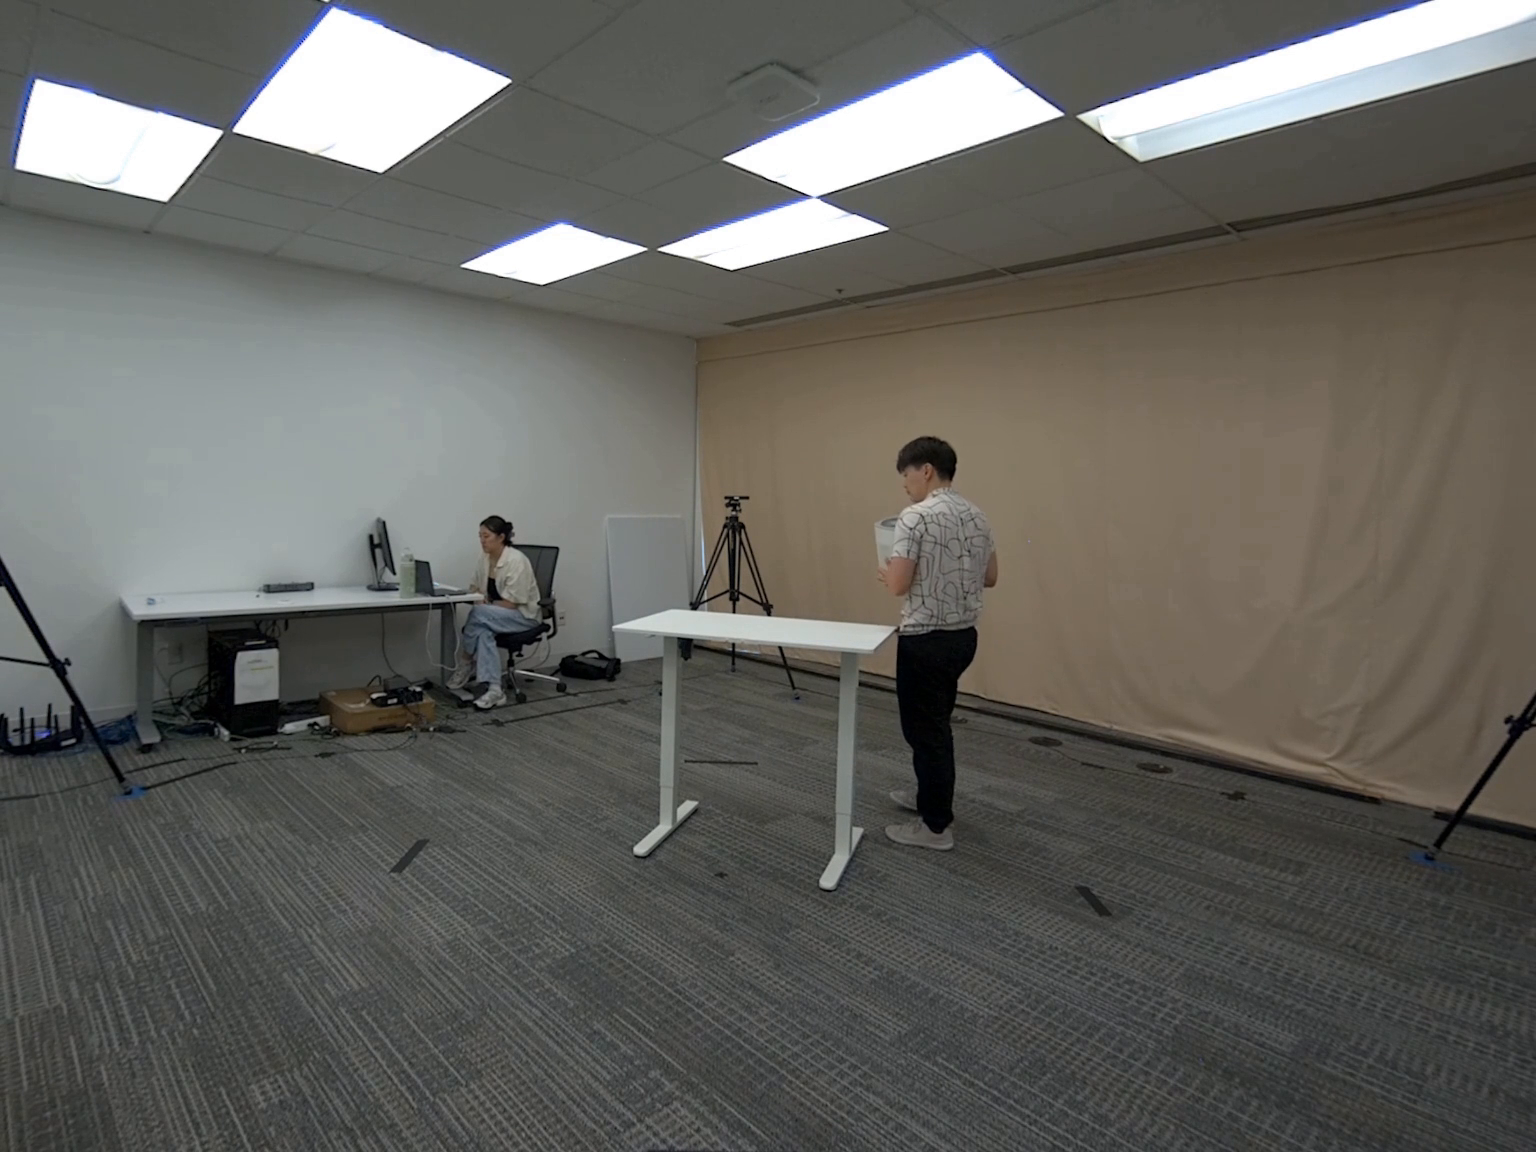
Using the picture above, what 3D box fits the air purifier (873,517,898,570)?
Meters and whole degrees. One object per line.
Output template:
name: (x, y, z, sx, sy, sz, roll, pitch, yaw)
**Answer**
air purifier: (0.565, -0.106, 3.608, 0.169, 0.261, 0.176, -19, 23, -28)
